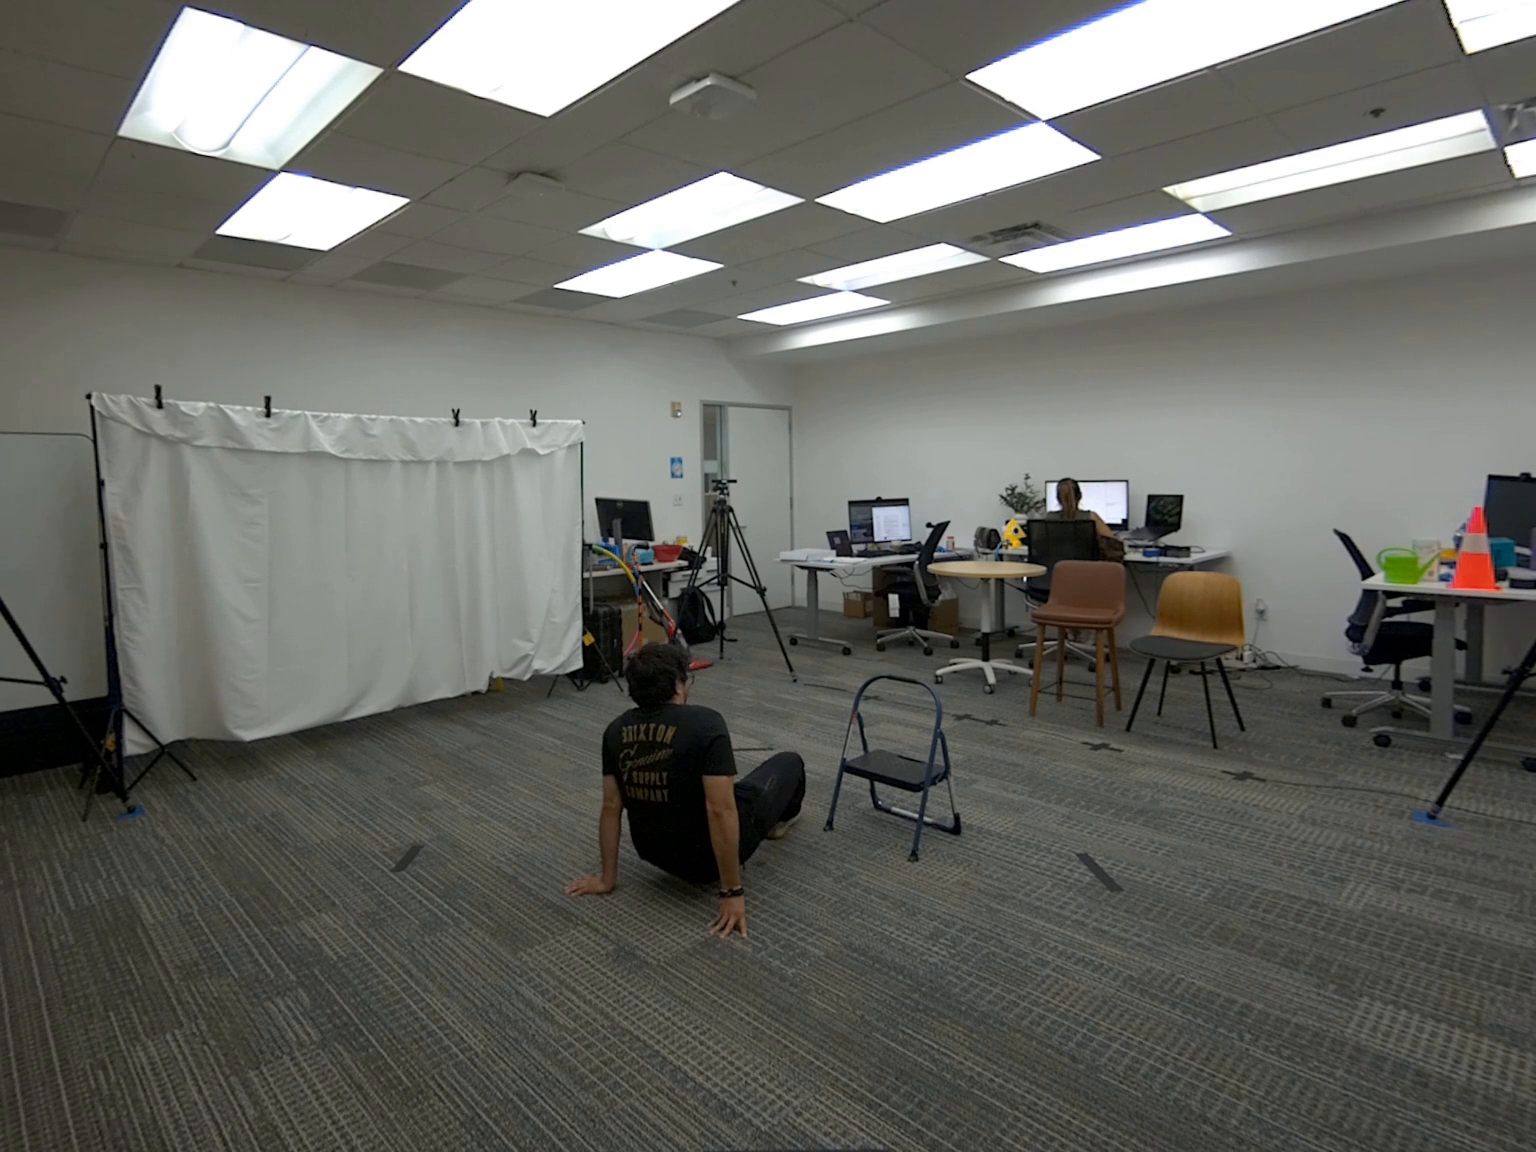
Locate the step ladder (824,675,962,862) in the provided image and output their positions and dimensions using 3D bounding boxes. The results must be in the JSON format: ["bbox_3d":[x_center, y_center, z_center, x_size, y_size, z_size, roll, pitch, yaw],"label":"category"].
[{"bbox_3d":[0.492,0.709,3.353,0.444,0.604,0.340,4,6,44],"label":"step ladder"}]
